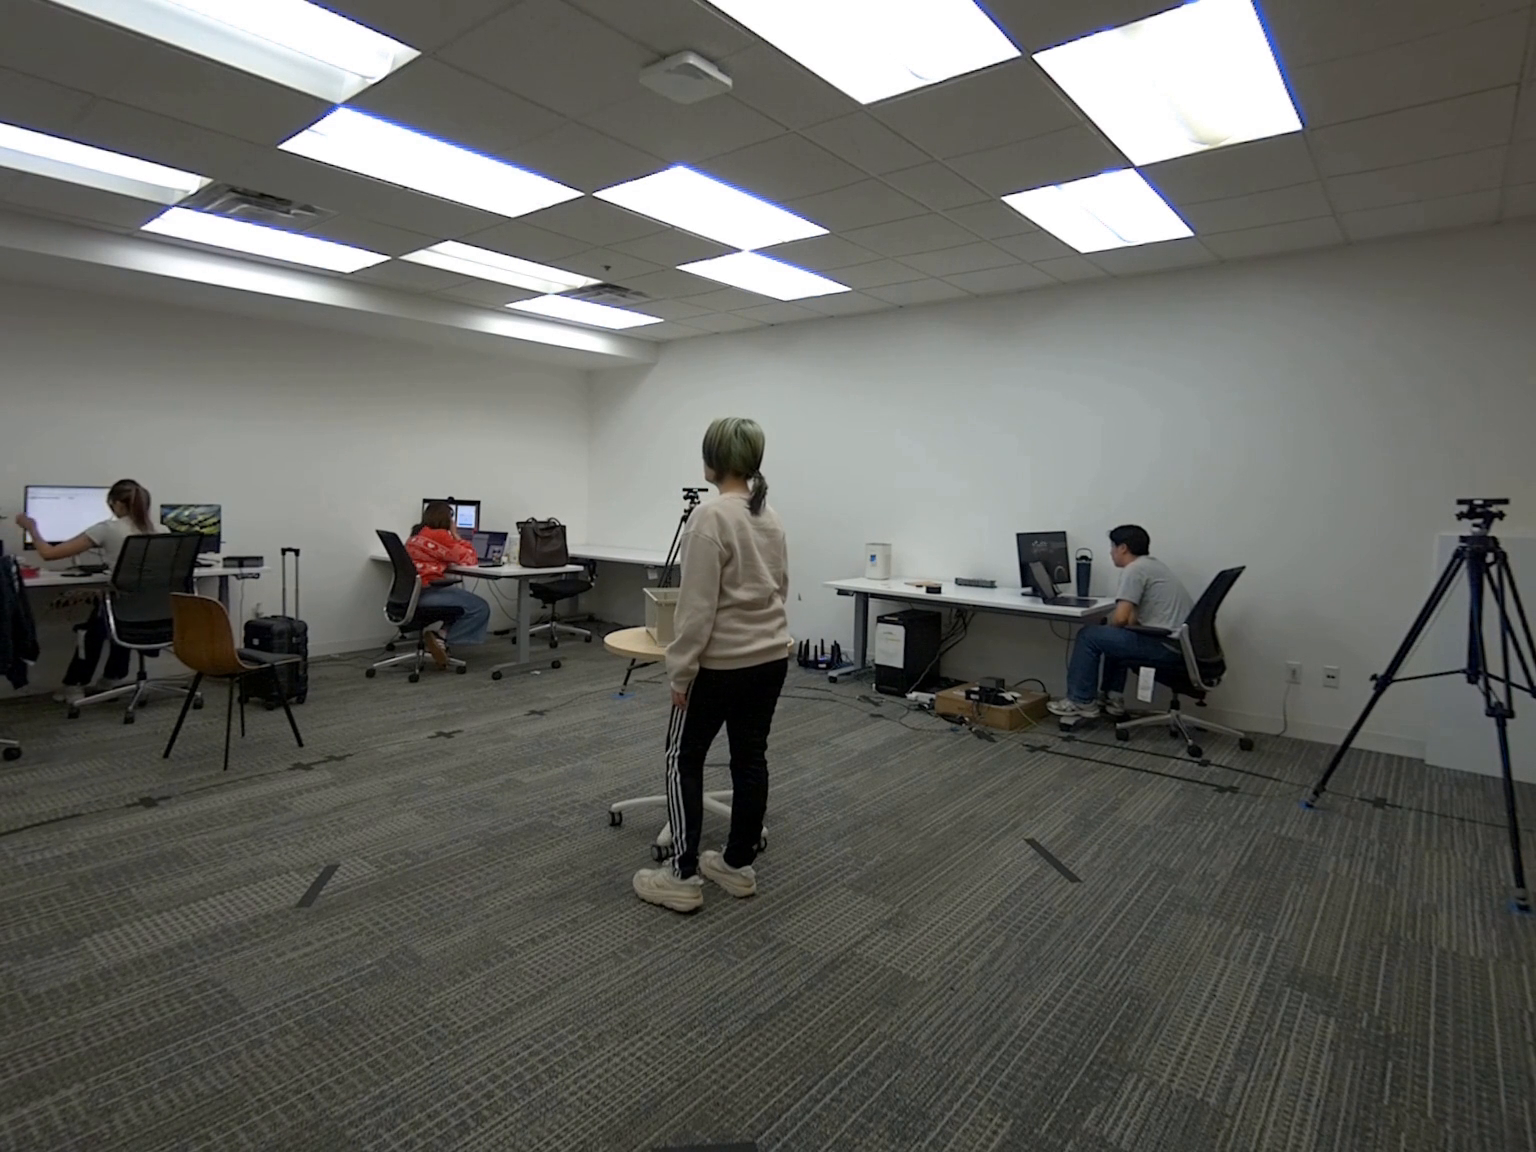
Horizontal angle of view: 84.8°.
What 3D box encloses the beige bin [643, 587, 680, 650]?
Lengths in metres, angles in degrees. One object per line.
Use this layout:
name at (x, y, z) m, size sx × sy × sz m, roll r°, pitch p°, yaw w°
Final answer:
beige bin at (-0.300, 0.175, 3.463) m, size 0.372 × 0.188 × 0.429 m, roll 4°, pitch 4°, yaw -12°
